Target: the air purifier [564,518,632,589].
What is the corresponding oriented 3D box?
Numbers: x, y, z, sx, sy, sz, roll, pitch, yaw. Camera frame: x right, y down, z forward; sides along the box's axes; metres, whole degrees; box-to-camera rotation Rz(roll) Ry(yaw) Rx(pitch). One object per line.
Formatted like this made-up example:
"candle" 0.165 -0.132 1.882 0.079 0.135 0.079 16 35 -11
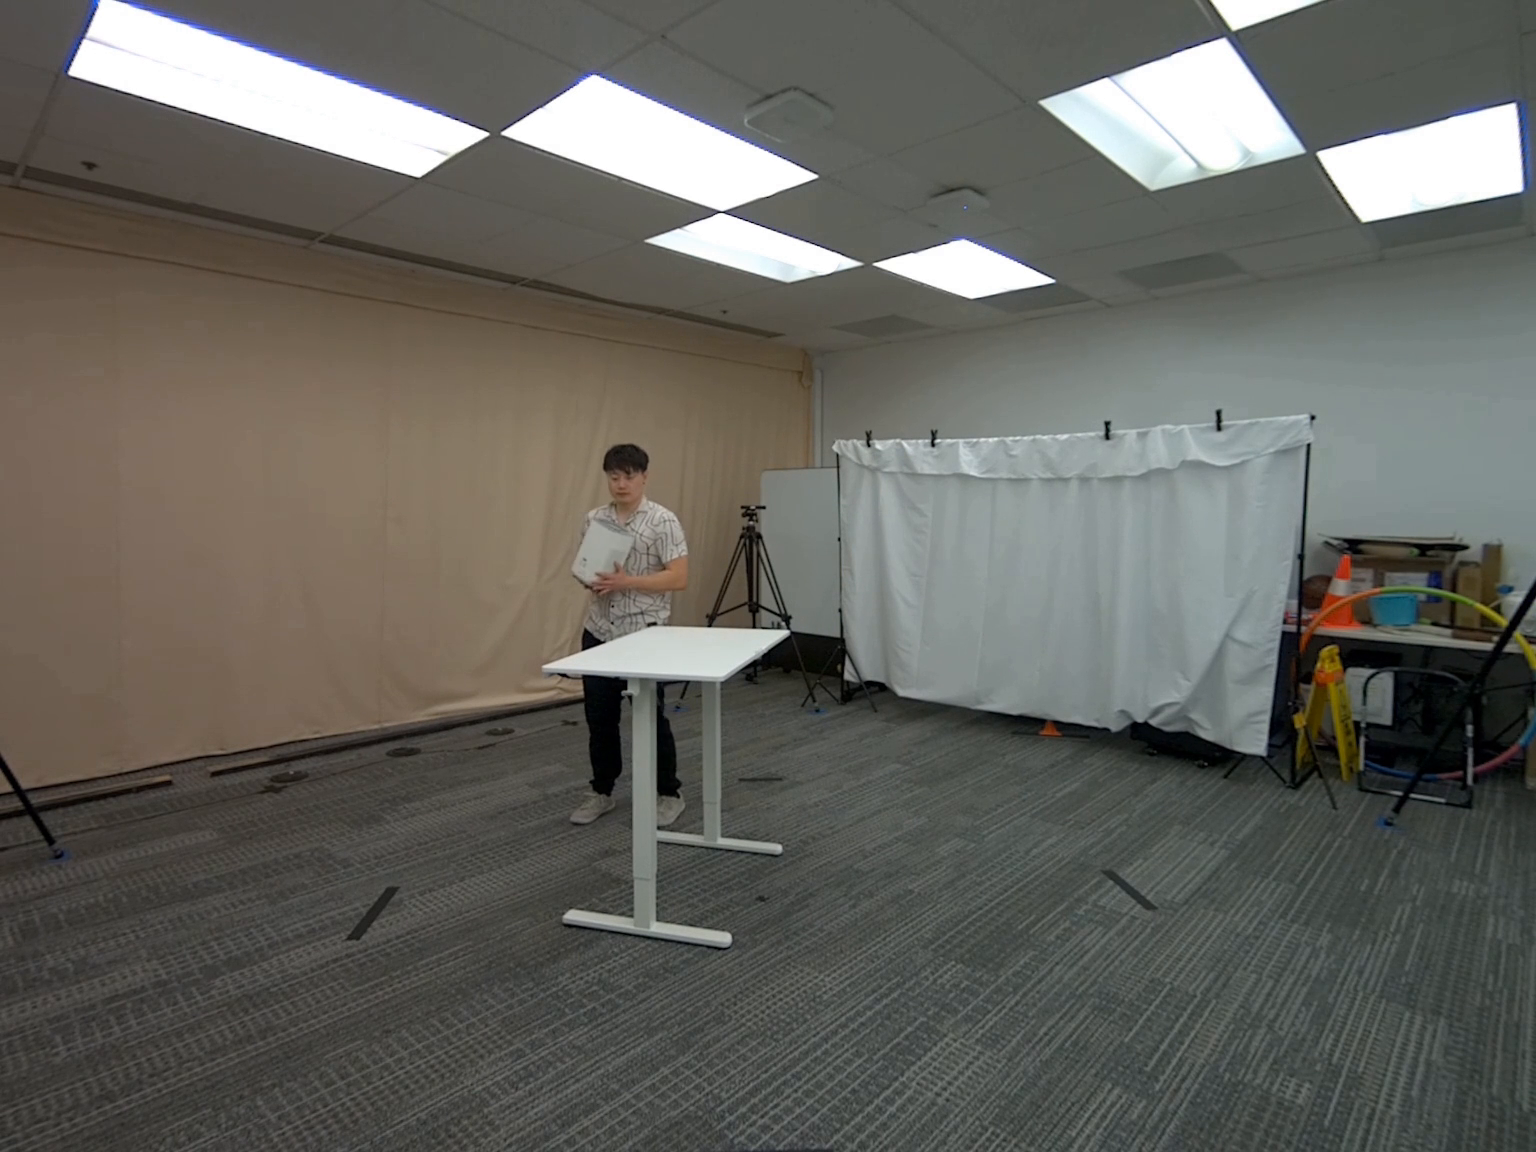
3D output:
"air purifier" -0.700 -0.093 3.591 0.177 0.265 0.165 33 11 37
